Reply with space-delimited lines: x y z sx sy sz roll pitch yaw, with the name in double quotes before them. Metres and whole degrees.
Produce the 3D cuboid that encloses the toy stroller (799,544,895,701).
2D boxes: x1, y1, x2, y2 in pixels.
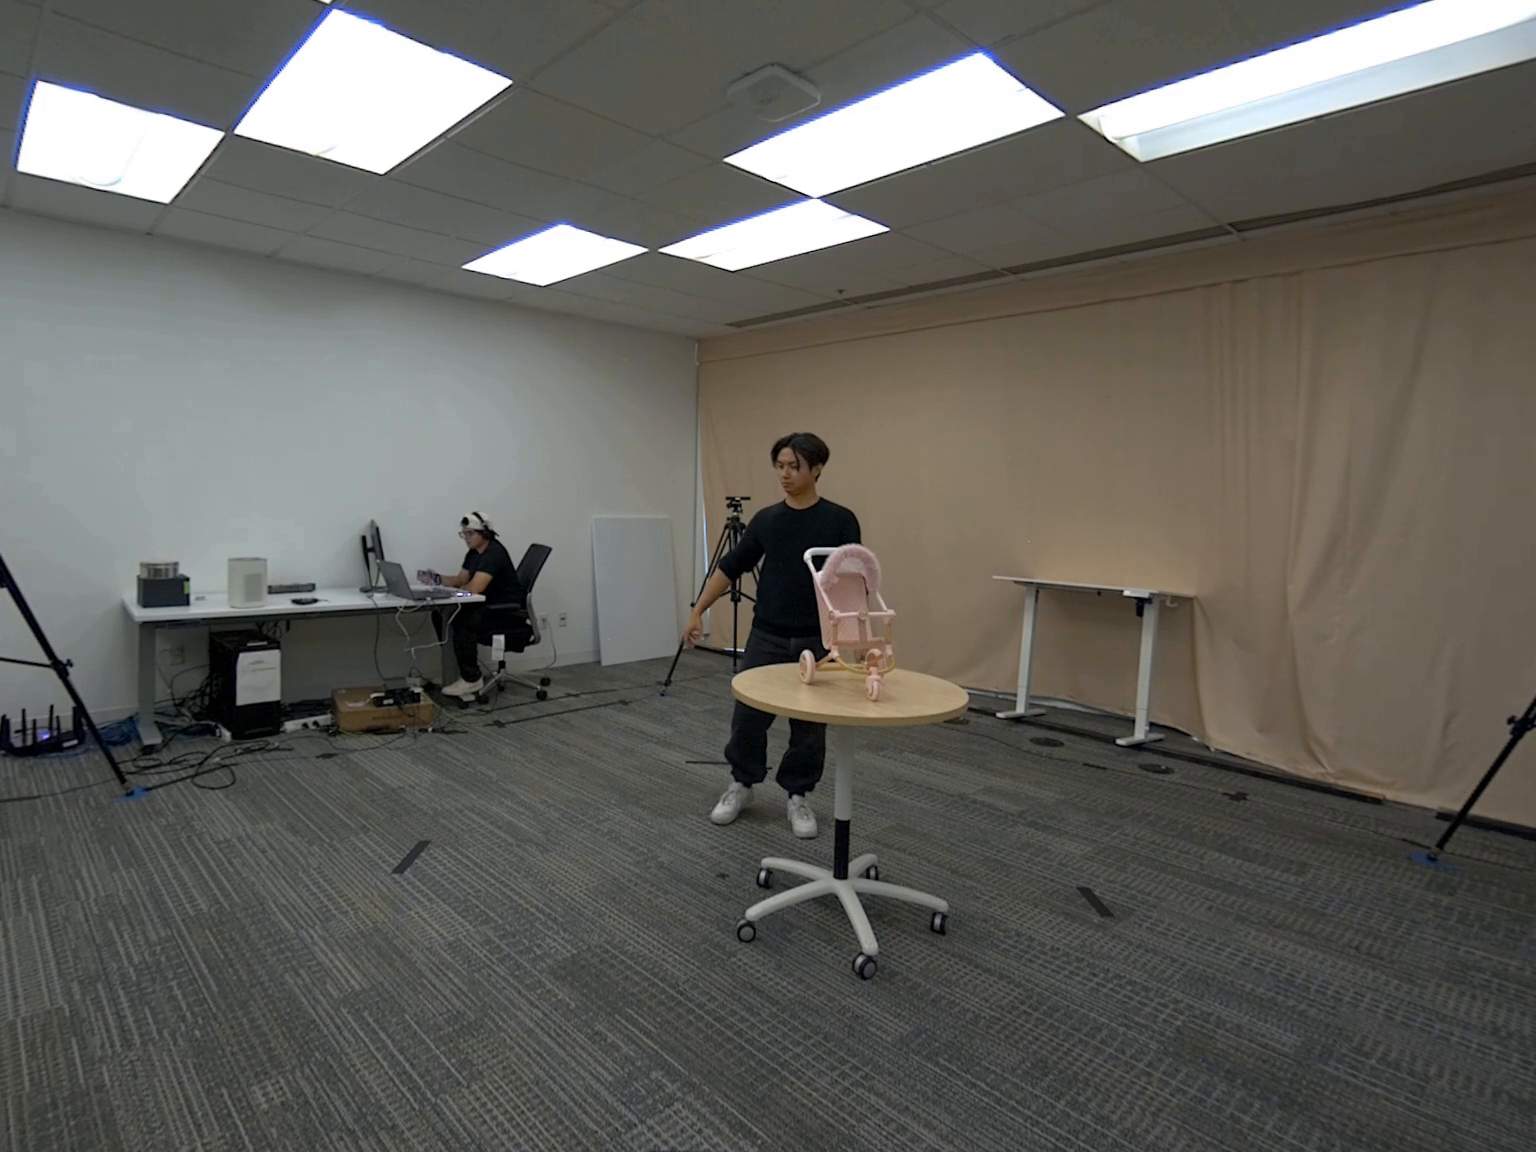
"toy stroller" 0.266 0.140 2.737 0.279 0.539 0.342 1 -11 -13
